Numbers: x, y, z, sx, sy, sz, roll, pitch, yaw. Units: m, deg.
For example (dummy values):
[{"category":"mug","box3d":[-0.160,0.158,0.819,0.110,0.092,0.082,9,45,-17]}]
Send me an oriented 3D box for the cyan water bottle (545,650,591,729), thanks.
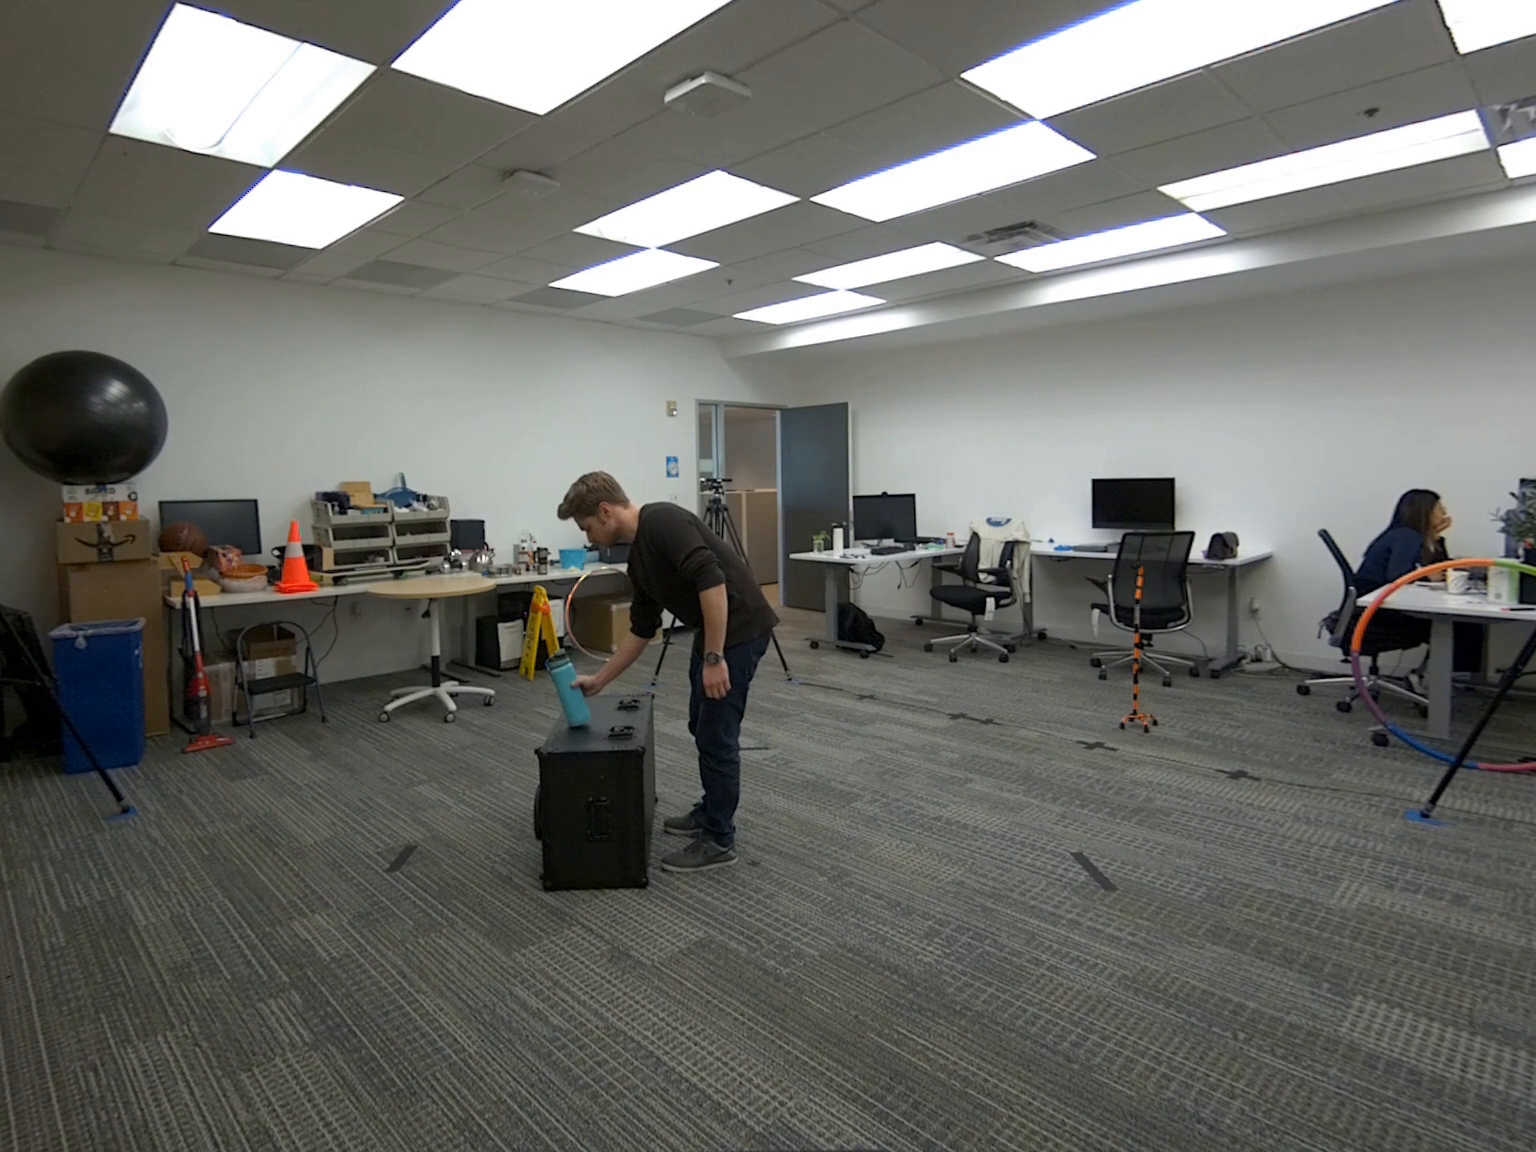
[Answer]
[{"category":"cyan water bottle","box3d":[-0.750,0.416,3.206,0.092,0.281,0.093,-19,8,2]}]
